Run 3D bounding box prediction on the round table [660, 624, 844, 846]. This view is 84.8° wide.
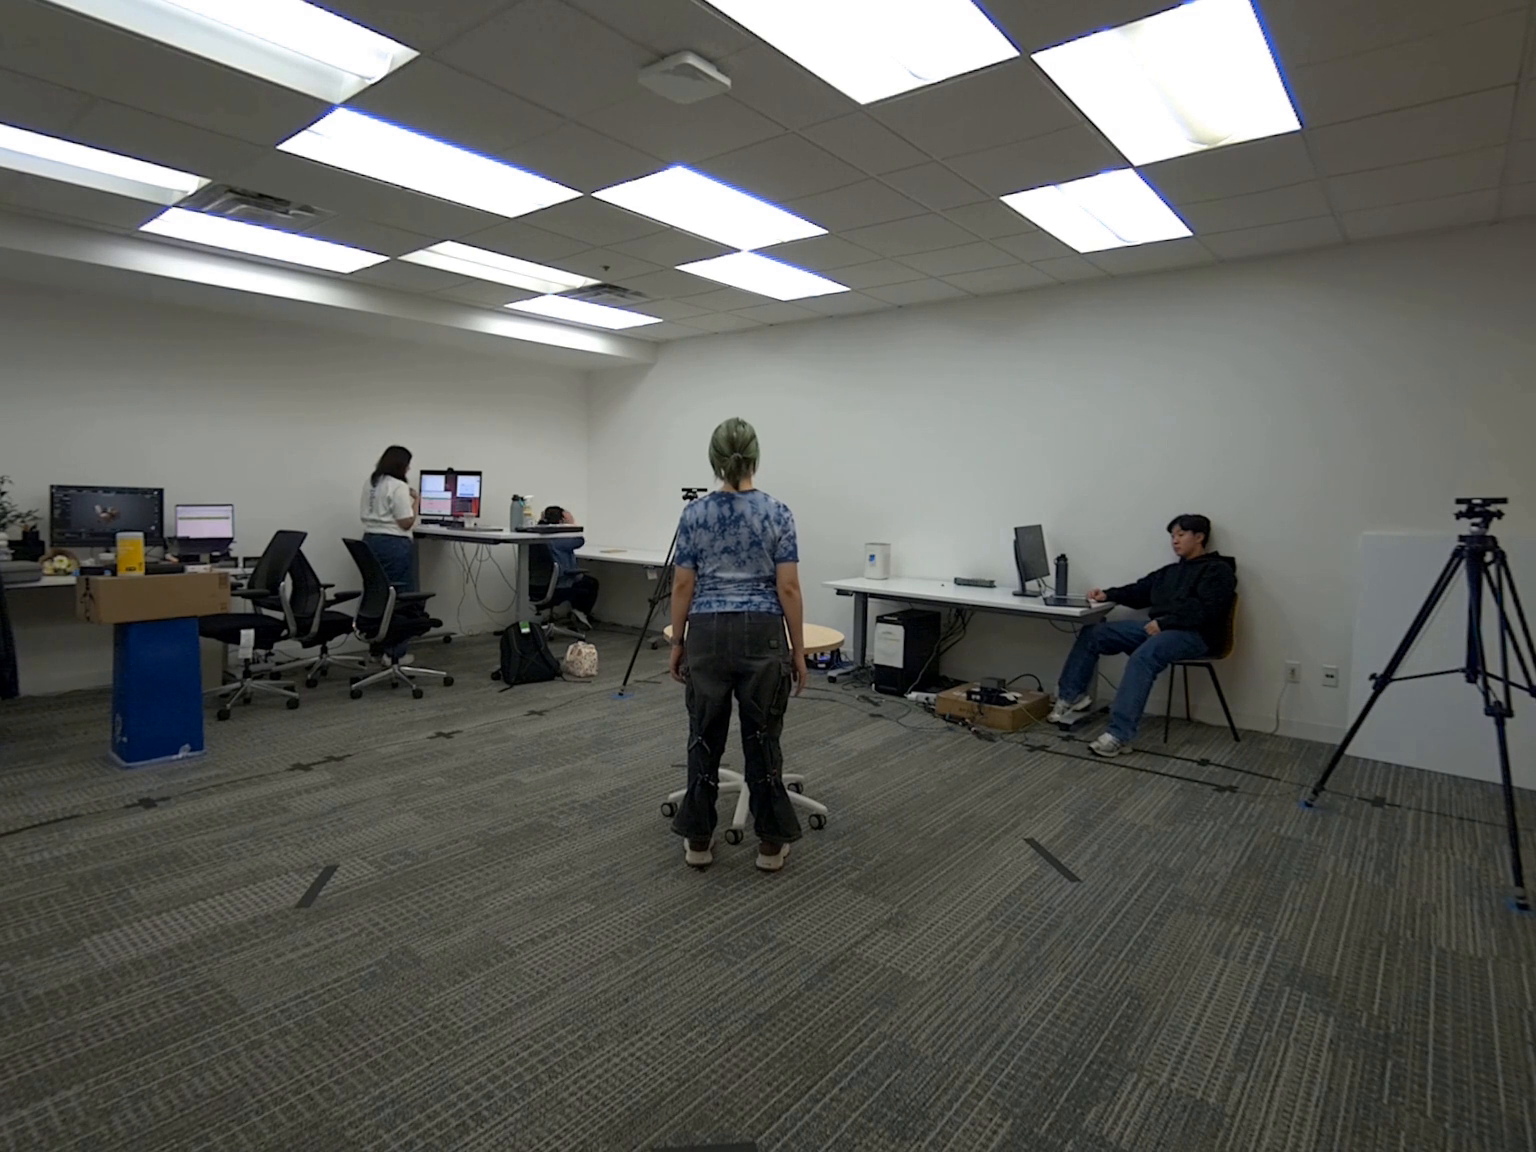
[{"bbox_3d":[-0.068,0.626,3.629,0.784,0.784,0.789,1,4,-2],"label":"round table"}]
